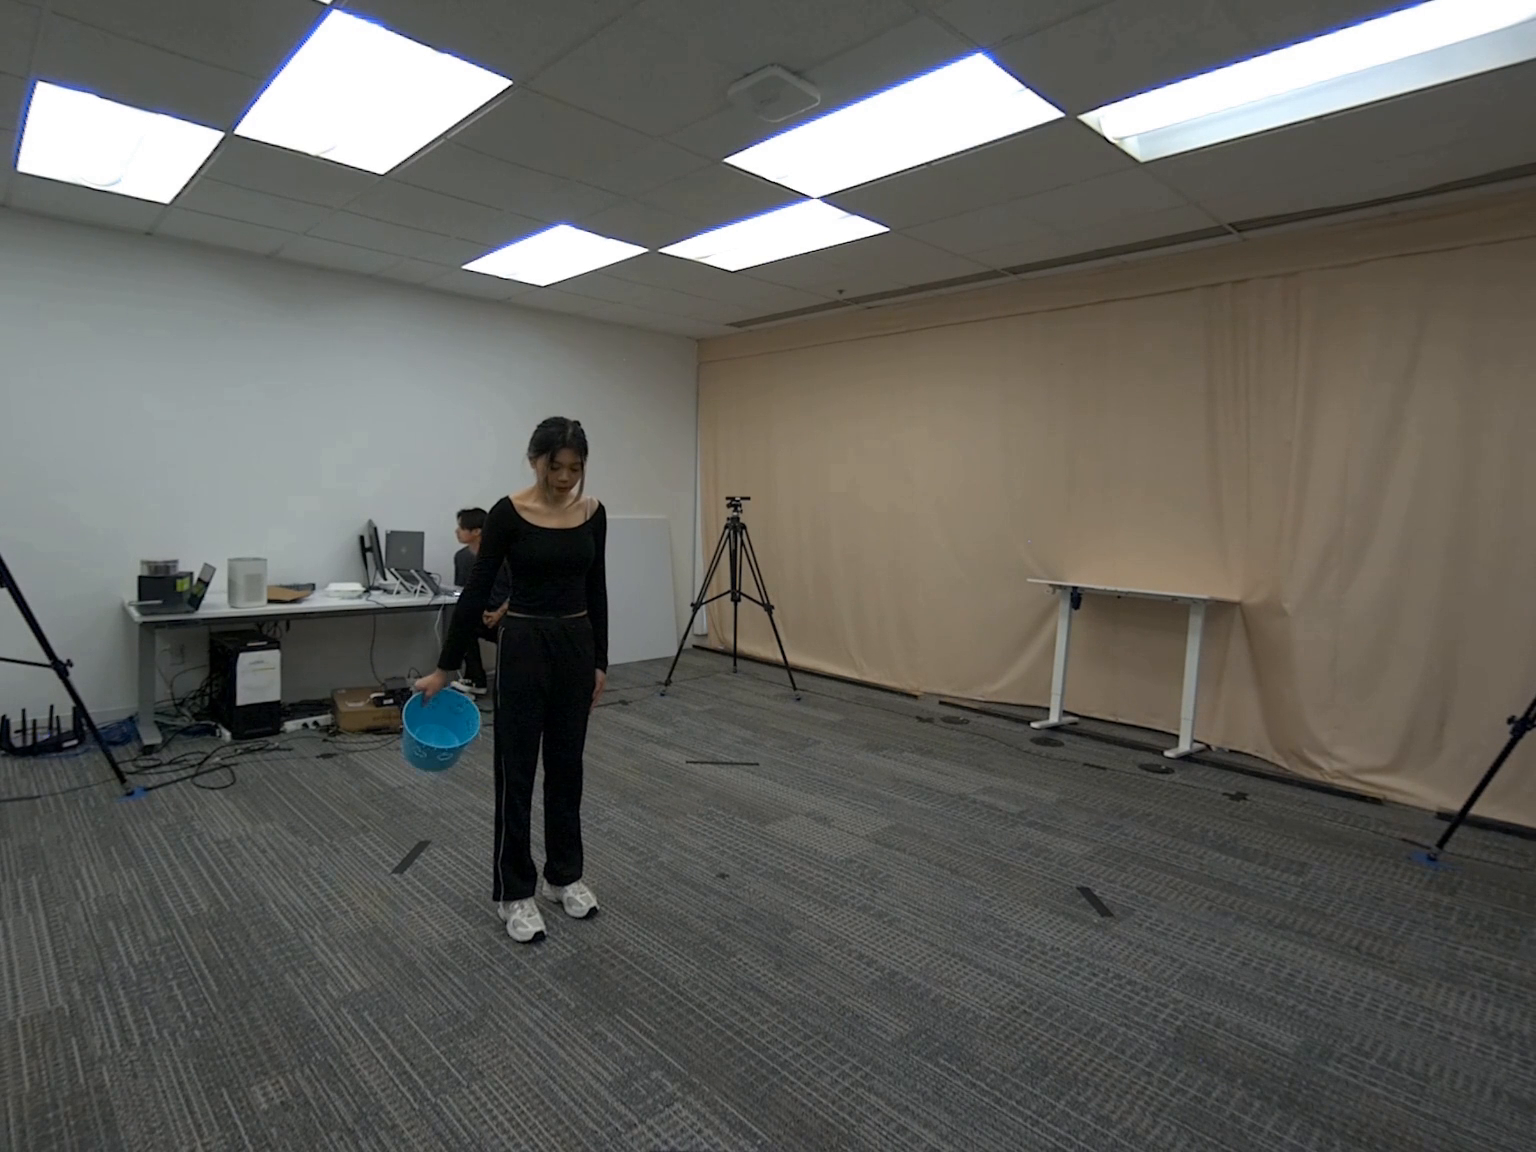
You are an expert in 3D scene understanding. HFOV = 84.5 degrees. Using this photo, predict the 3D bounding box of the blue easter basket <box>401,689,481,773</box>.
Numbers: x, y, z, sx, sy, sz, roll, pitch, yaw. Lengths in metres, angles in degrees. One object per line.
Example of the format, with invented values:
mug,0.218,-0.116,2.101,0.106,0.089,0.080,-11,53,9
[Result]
blue easter basket,-1.010,0.486,2.608,0.240,0.155,0.249,20,34,-16
